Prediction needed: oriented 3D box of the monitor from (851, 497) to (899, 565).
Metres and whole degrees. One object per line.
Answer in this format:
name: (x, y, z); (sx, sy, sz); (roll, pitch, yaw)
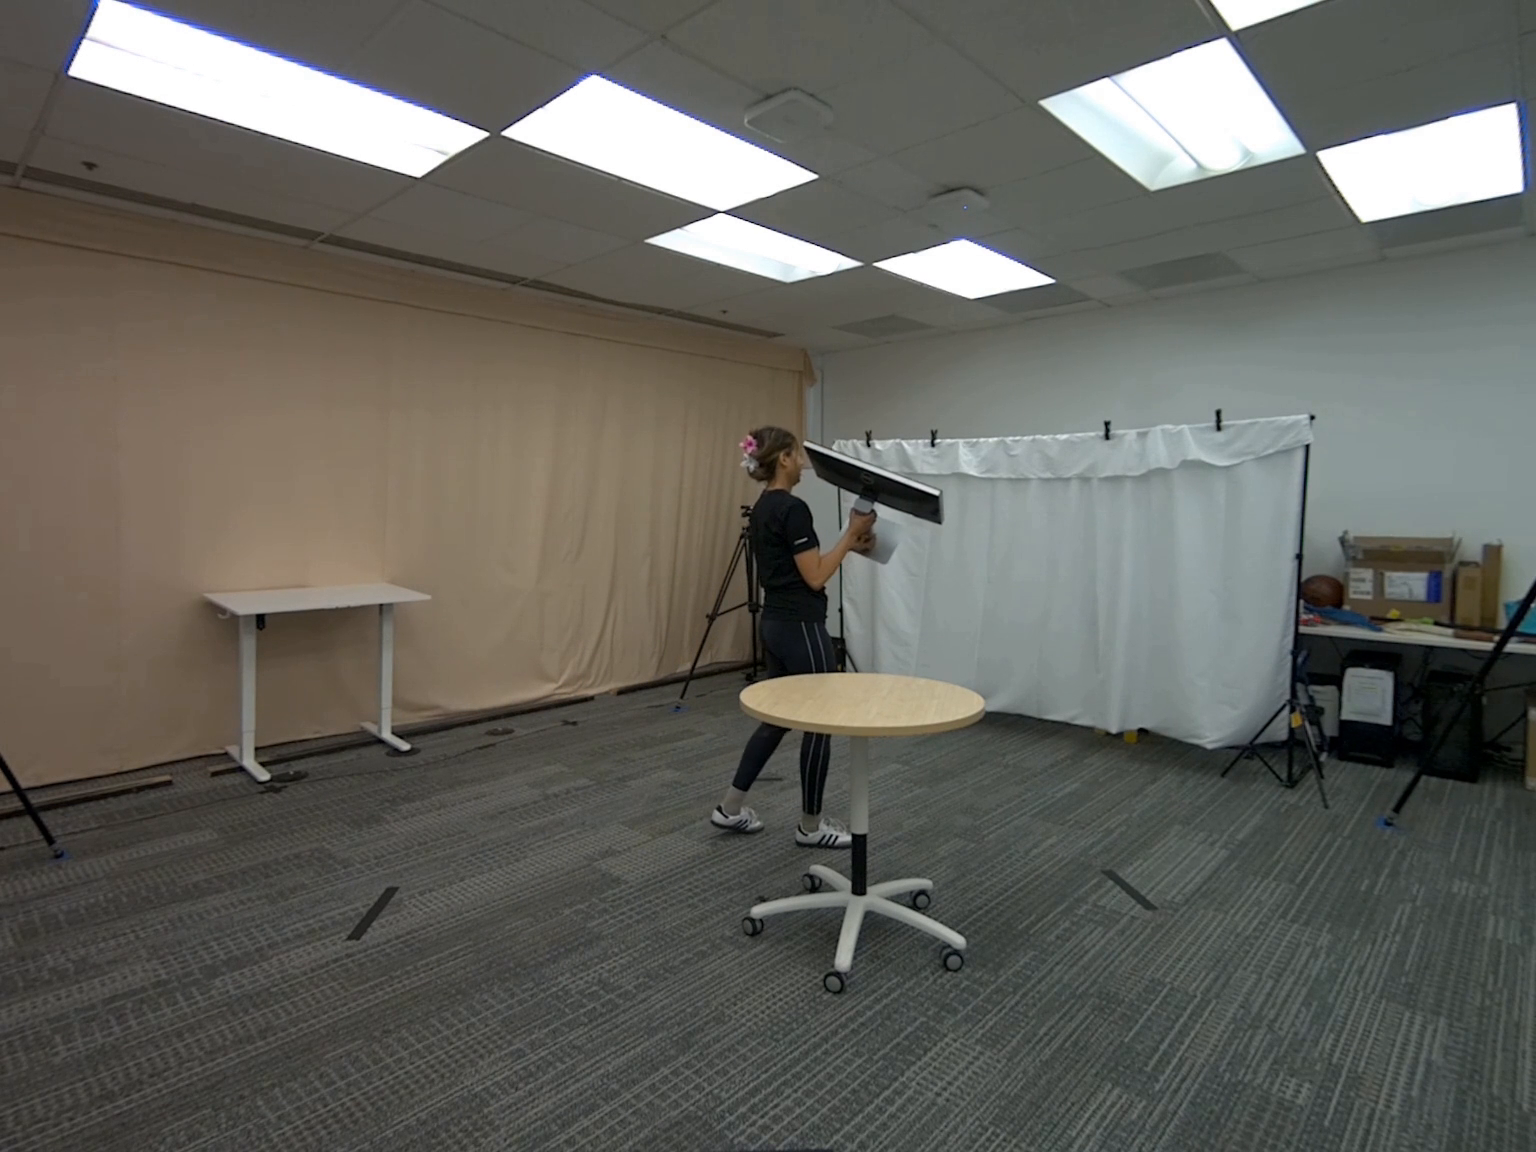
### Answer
monitor: (0.428, -0.292, 3.368); (0.552, 0.187, 0.510); (21, -23, 19)
